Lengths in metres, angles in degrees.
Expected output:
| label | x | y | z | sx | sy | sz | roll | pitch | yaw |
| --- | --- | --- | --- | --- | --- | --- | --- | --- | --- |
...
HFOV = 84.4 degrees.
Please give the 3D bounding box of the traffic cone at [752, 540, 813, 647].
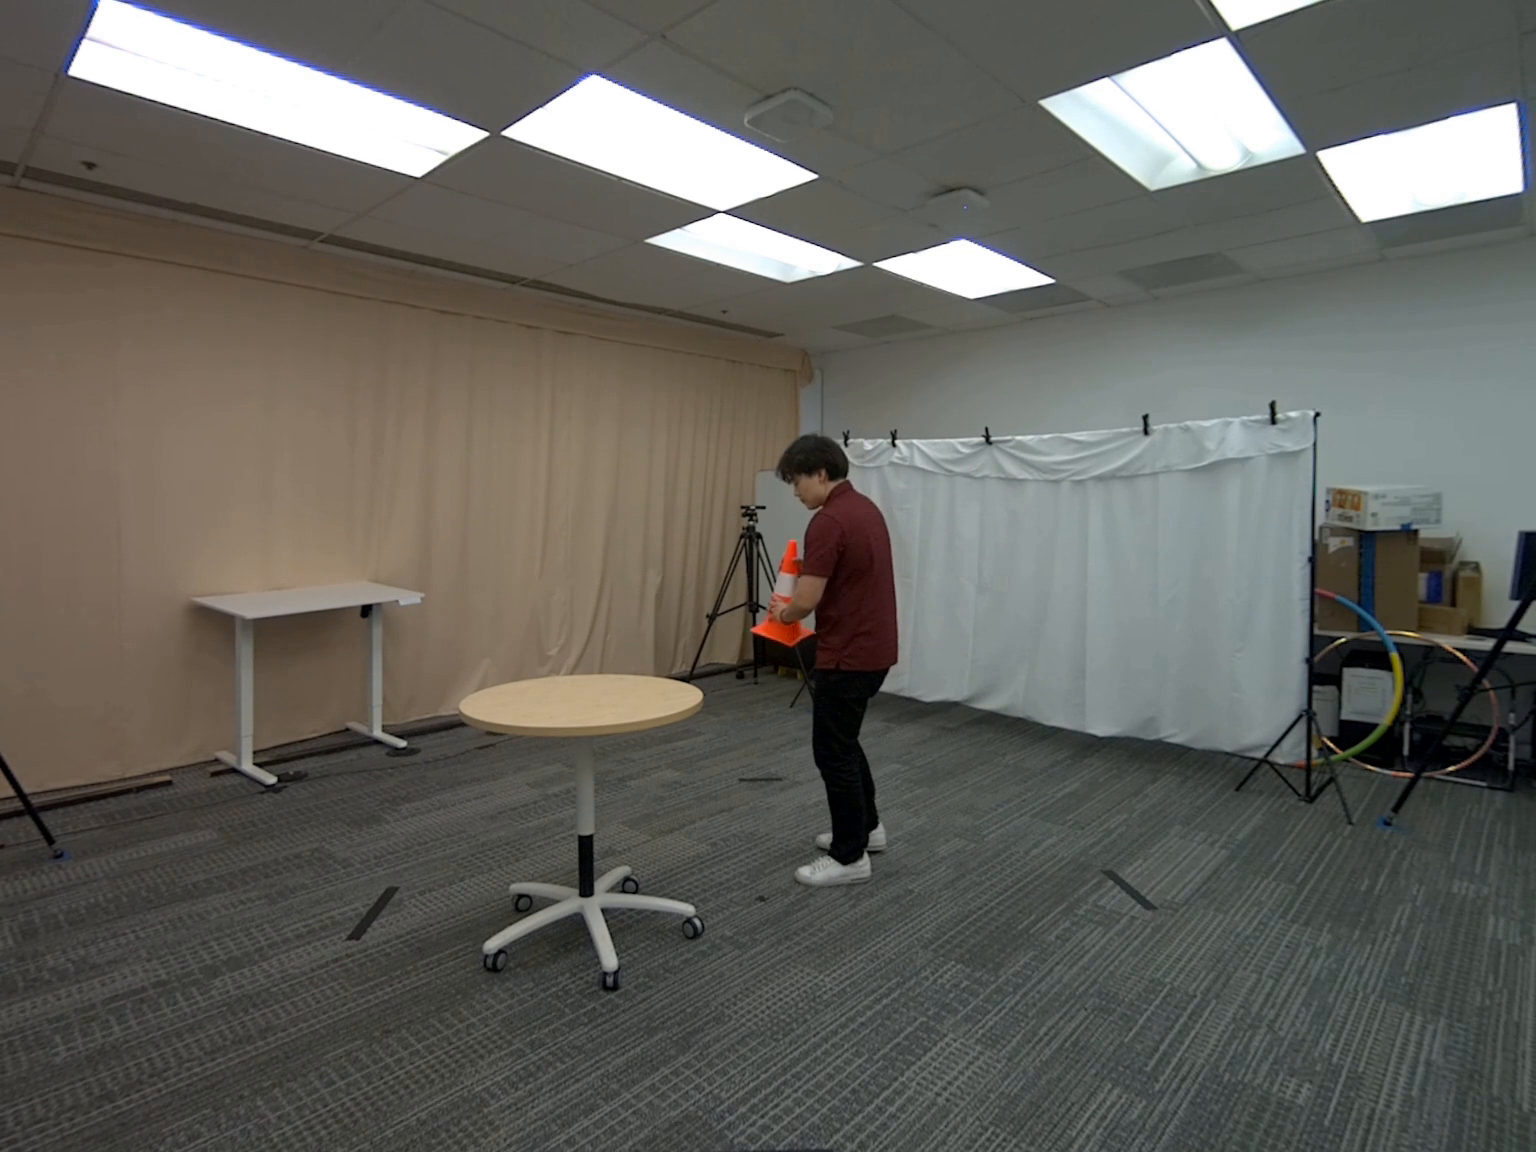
| label | x | y | z | sx | sy | sz | roll | pitch | yaw |
| --- | --- | --- | --- | --- | --- | --- | --- | --- | --- |
| traffic cone | 0.091 | 0.053 | 3.331 | 0.210 | 0.380 | 0.200 | 15 | 19 | 30 |
